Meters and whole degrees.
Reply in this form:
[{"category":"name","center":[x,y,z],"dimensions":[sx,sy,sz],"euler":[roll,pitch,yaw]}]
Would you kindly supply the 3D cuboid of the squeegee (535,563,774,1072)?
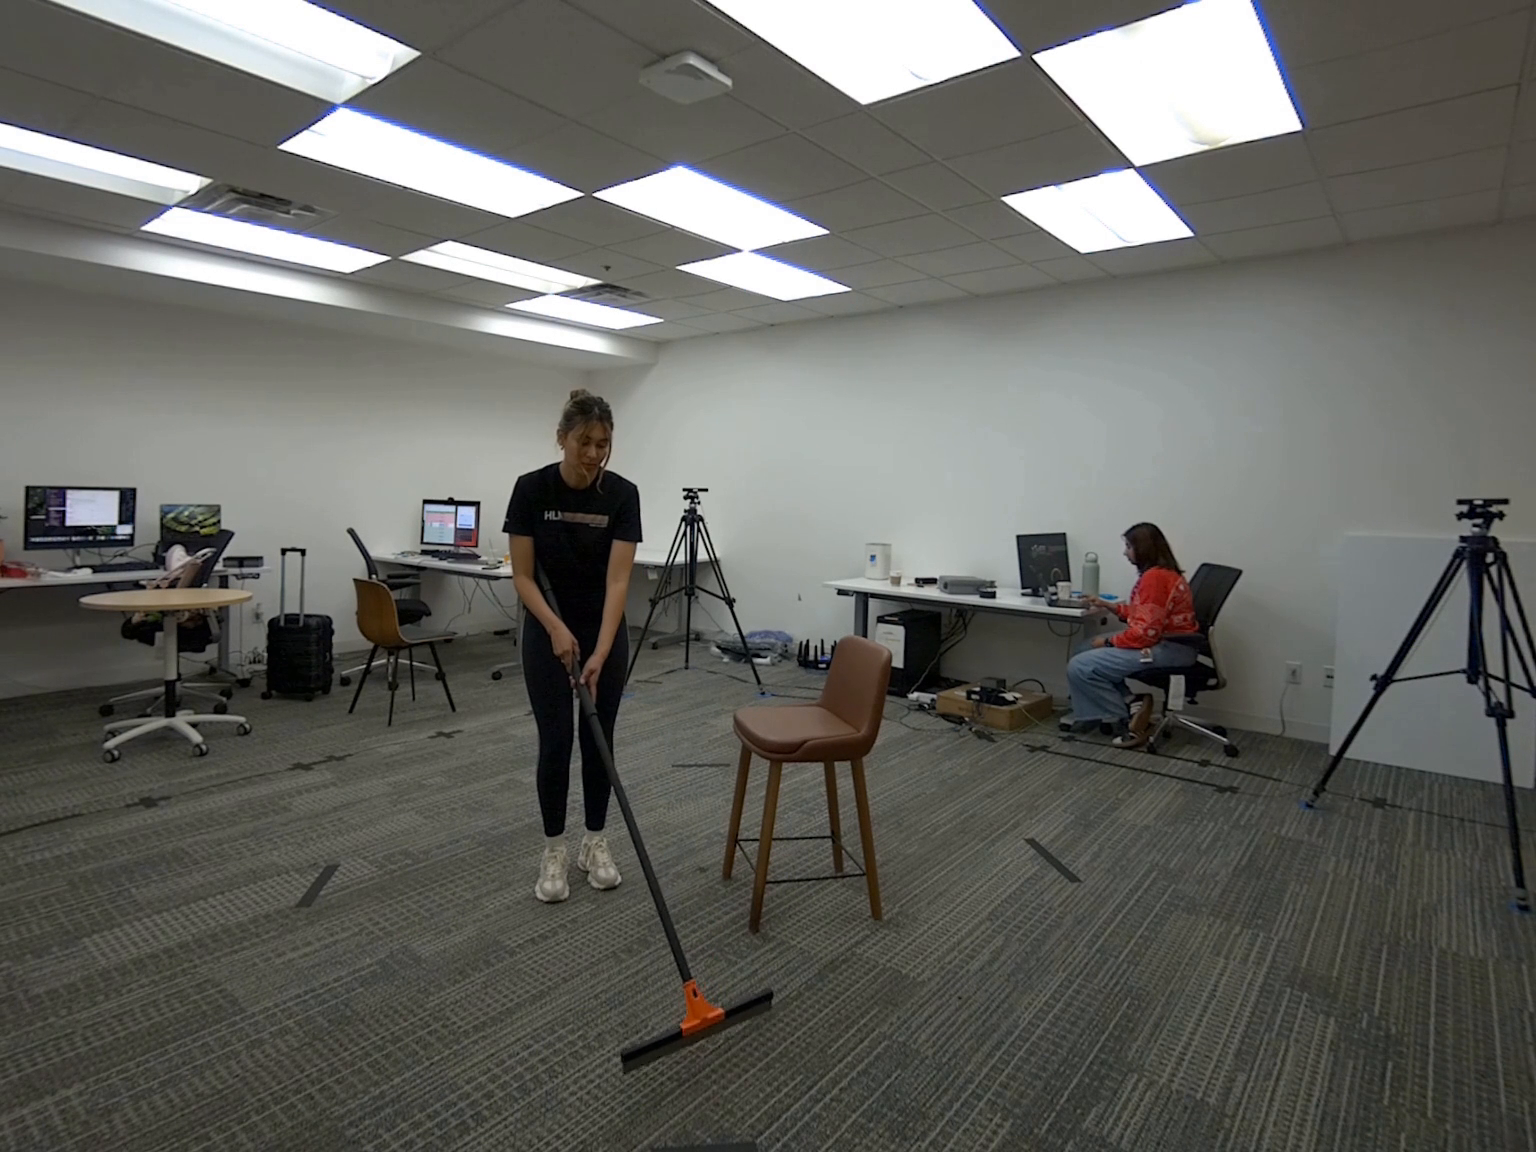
[{"category":"squeegee","center":[-0.457,0.517,2.474],"dimensions":[0.425,1.595,0.052],"euler":[-4,-39,-33]}]
